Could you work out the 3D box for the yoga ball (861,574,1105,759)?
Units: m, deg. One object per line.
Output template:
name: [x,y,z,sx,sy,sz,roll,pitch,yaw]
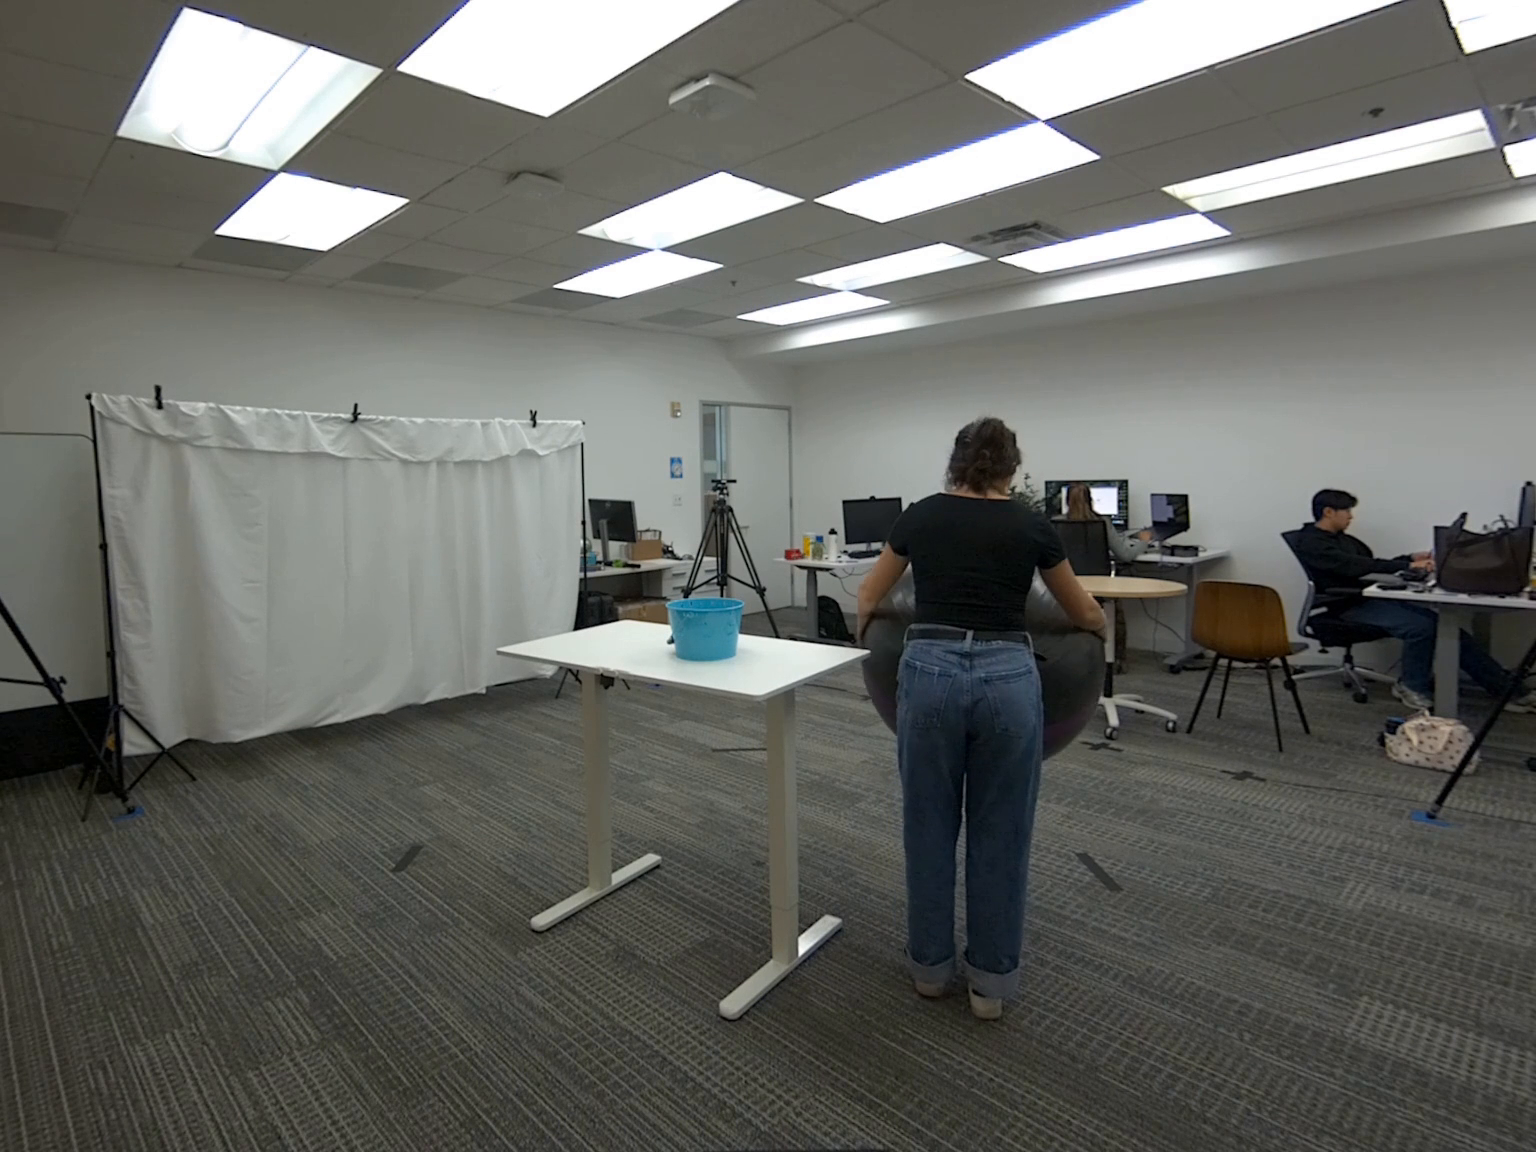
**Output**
yoga ball: [0.704,0.242,2.740,0.757,0.755,0.762,-1,5,-2]
